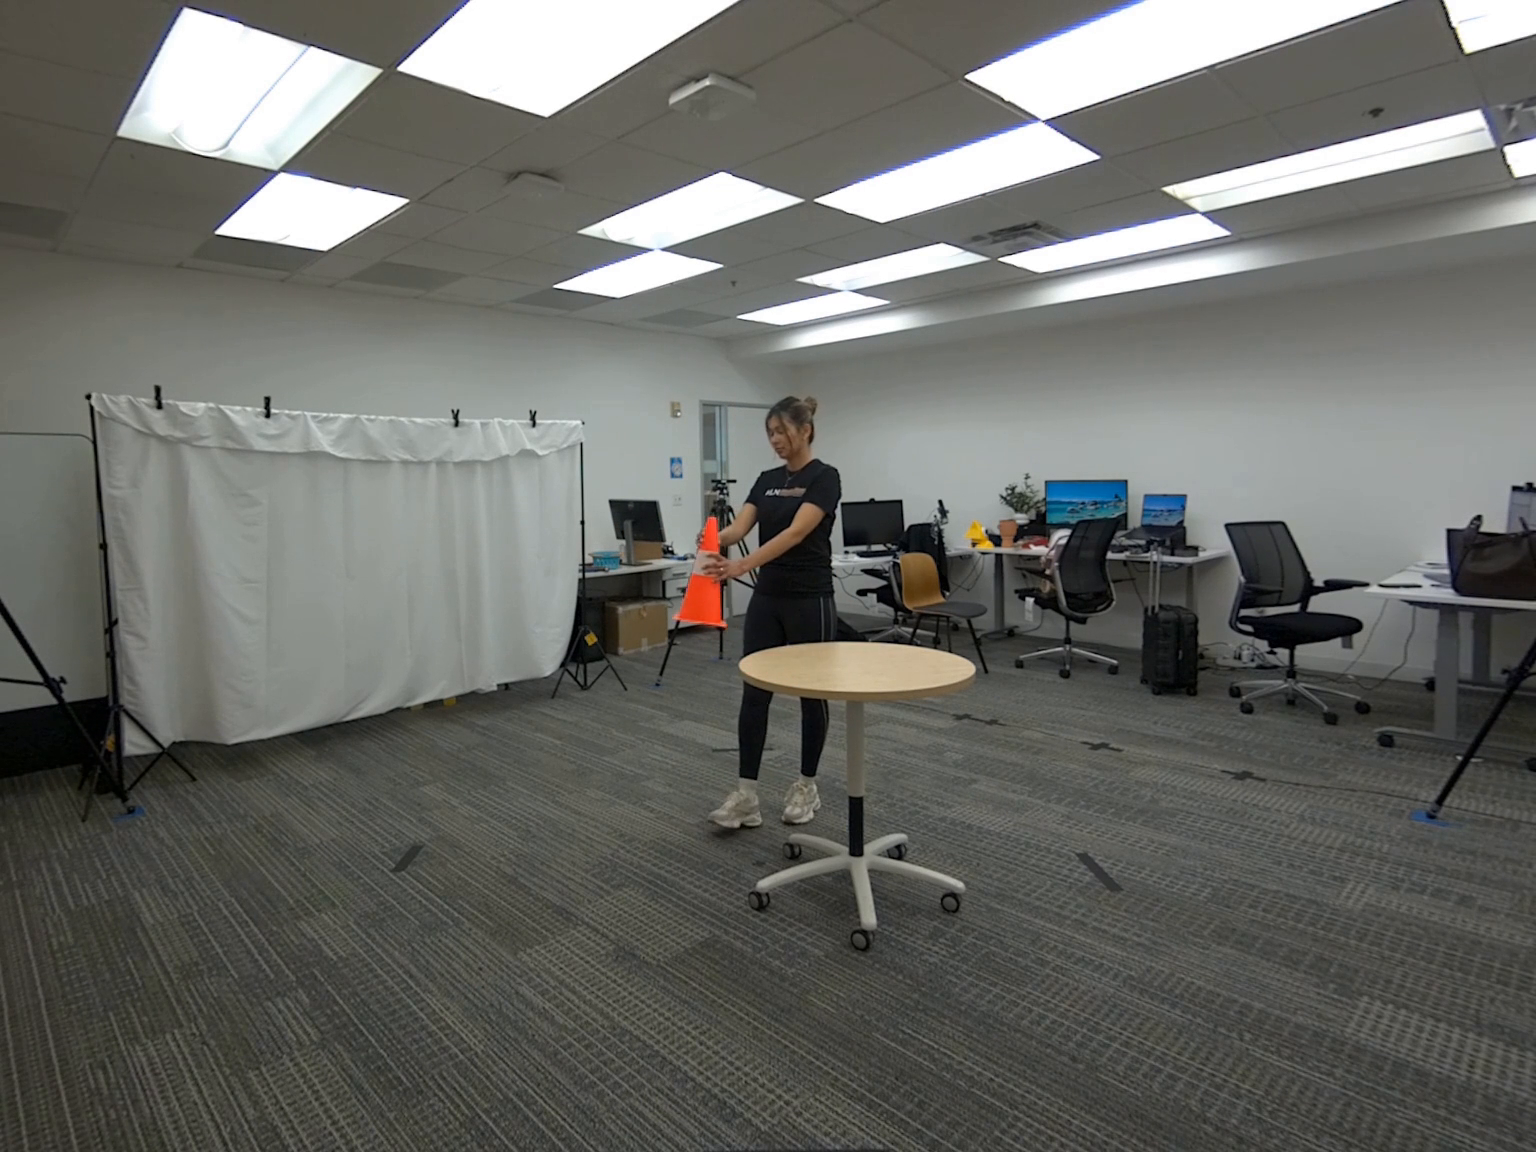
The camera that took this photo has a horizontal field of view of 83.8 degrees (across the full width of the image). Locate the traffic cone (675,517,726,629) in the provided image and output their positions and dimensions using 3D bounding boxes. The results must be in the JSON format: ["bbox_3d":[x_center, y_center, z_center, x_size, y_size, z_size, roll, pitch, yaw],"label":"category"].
[{"bbox_3d":[-0.229,-0.024,3.135,0.202,0.384,0.206,4,0,-5],"label":"traffic cone"}]
